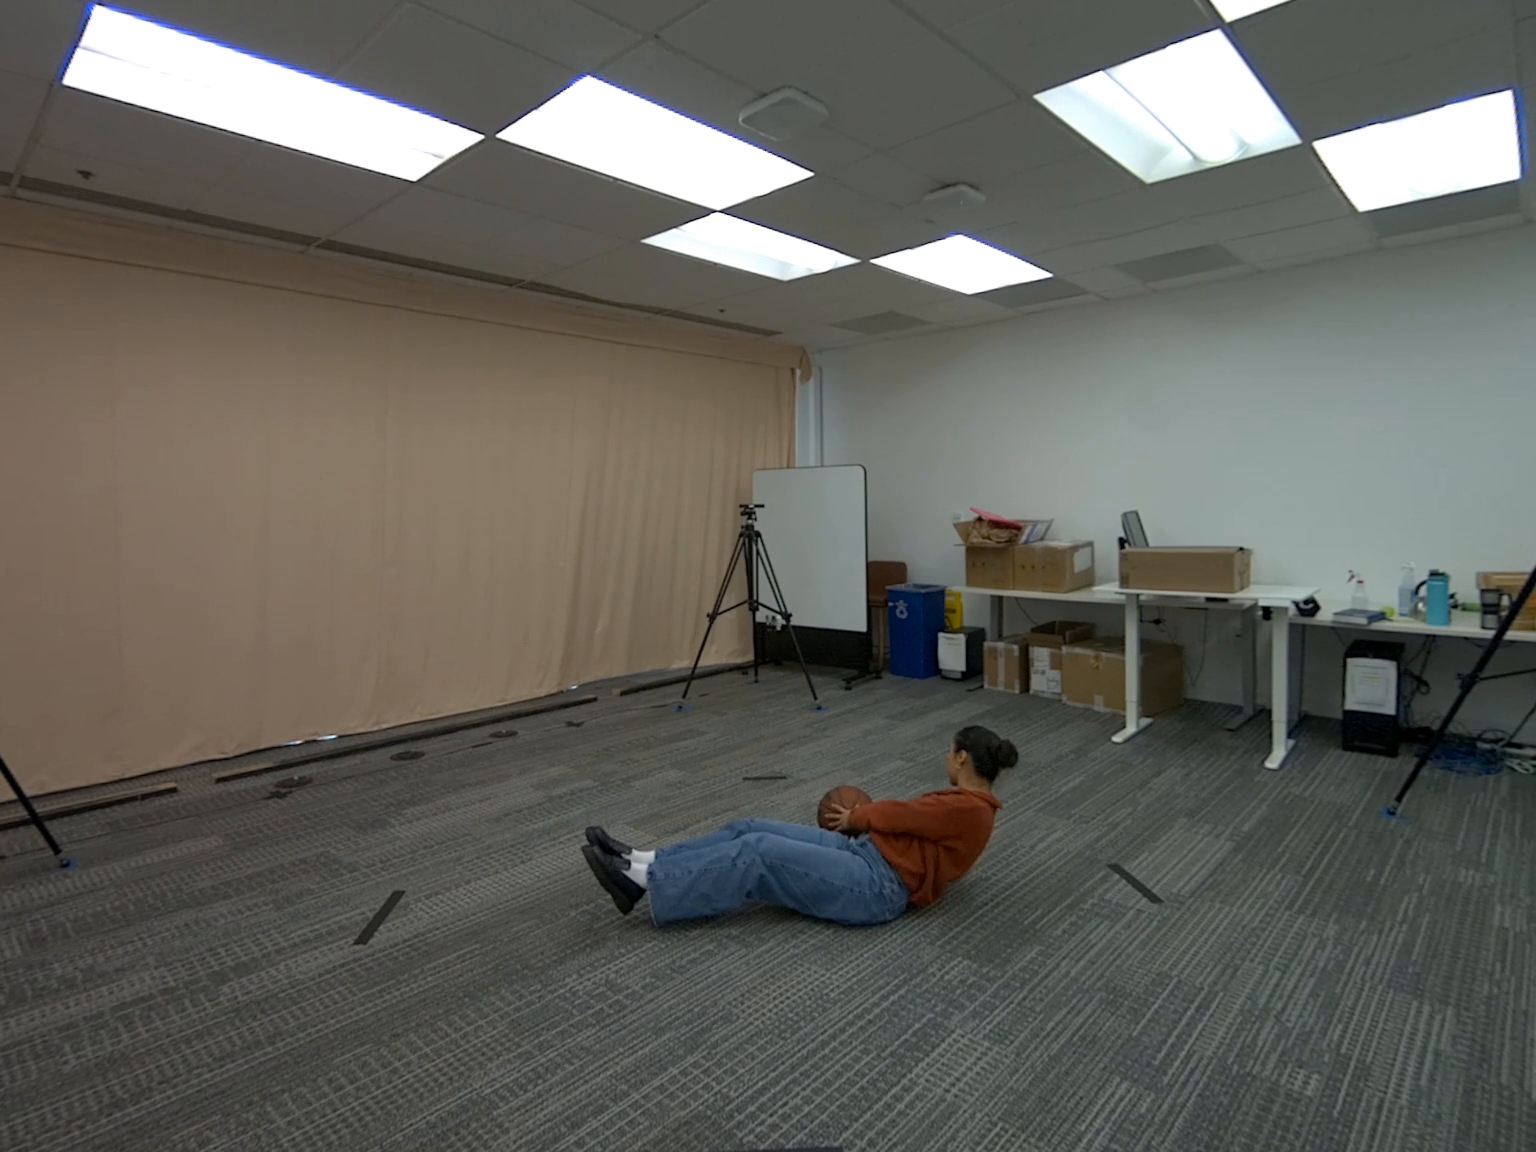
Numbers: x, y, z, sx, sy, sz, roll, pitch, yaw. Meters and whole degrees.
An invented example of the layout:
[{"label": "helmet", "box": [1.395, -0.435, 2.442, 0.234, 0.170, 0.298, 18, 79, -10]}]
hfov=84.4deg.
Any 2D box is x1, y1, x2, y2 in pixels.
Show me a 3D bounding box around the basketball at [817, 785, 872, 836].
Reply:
[{"label": "basketball", "box": [0.311, 0.930, 3.325, 0.236, 0.235, 0.237, -1, 4, -2]}]
